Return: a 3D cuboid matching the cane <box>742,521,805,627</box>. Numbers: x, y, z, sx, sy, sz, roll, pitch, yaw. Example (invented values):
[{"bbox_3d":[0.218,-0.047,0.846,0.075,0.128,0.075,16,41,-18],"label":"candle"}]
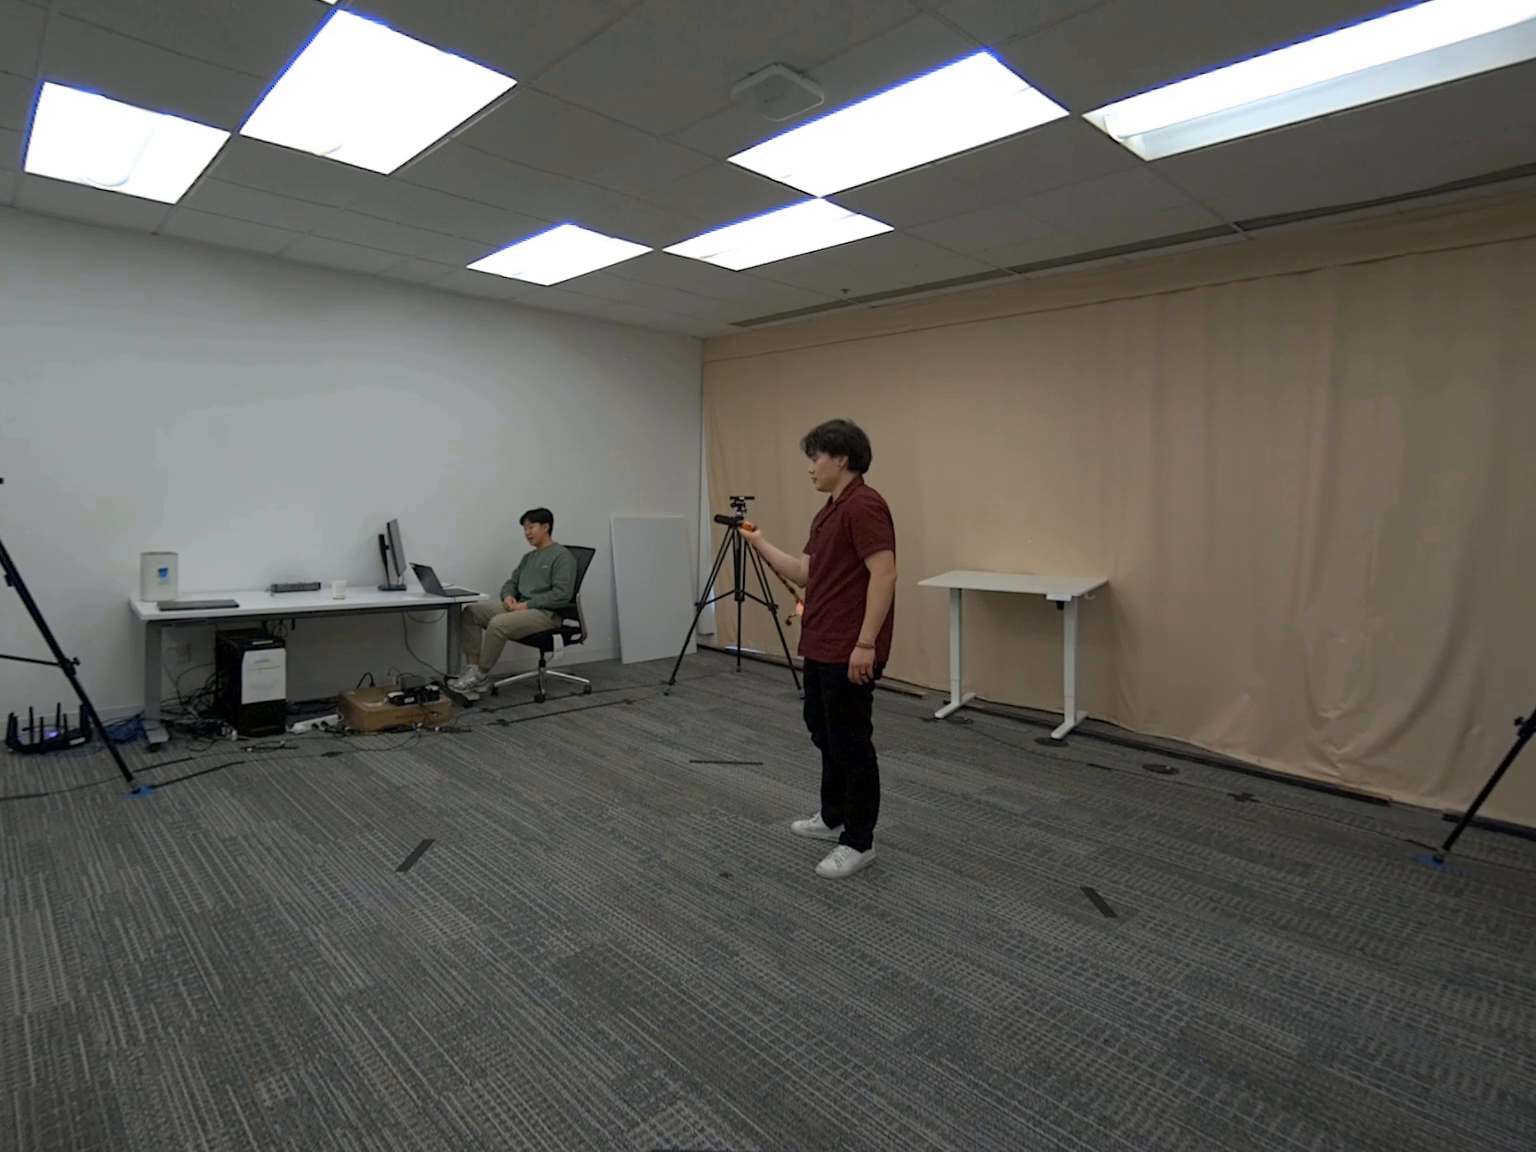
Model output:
[{"bbox_3d":[0.017,-0.002,3.756,0.212,0.152,0.880,20,-17,34],"label":"cane"}]
